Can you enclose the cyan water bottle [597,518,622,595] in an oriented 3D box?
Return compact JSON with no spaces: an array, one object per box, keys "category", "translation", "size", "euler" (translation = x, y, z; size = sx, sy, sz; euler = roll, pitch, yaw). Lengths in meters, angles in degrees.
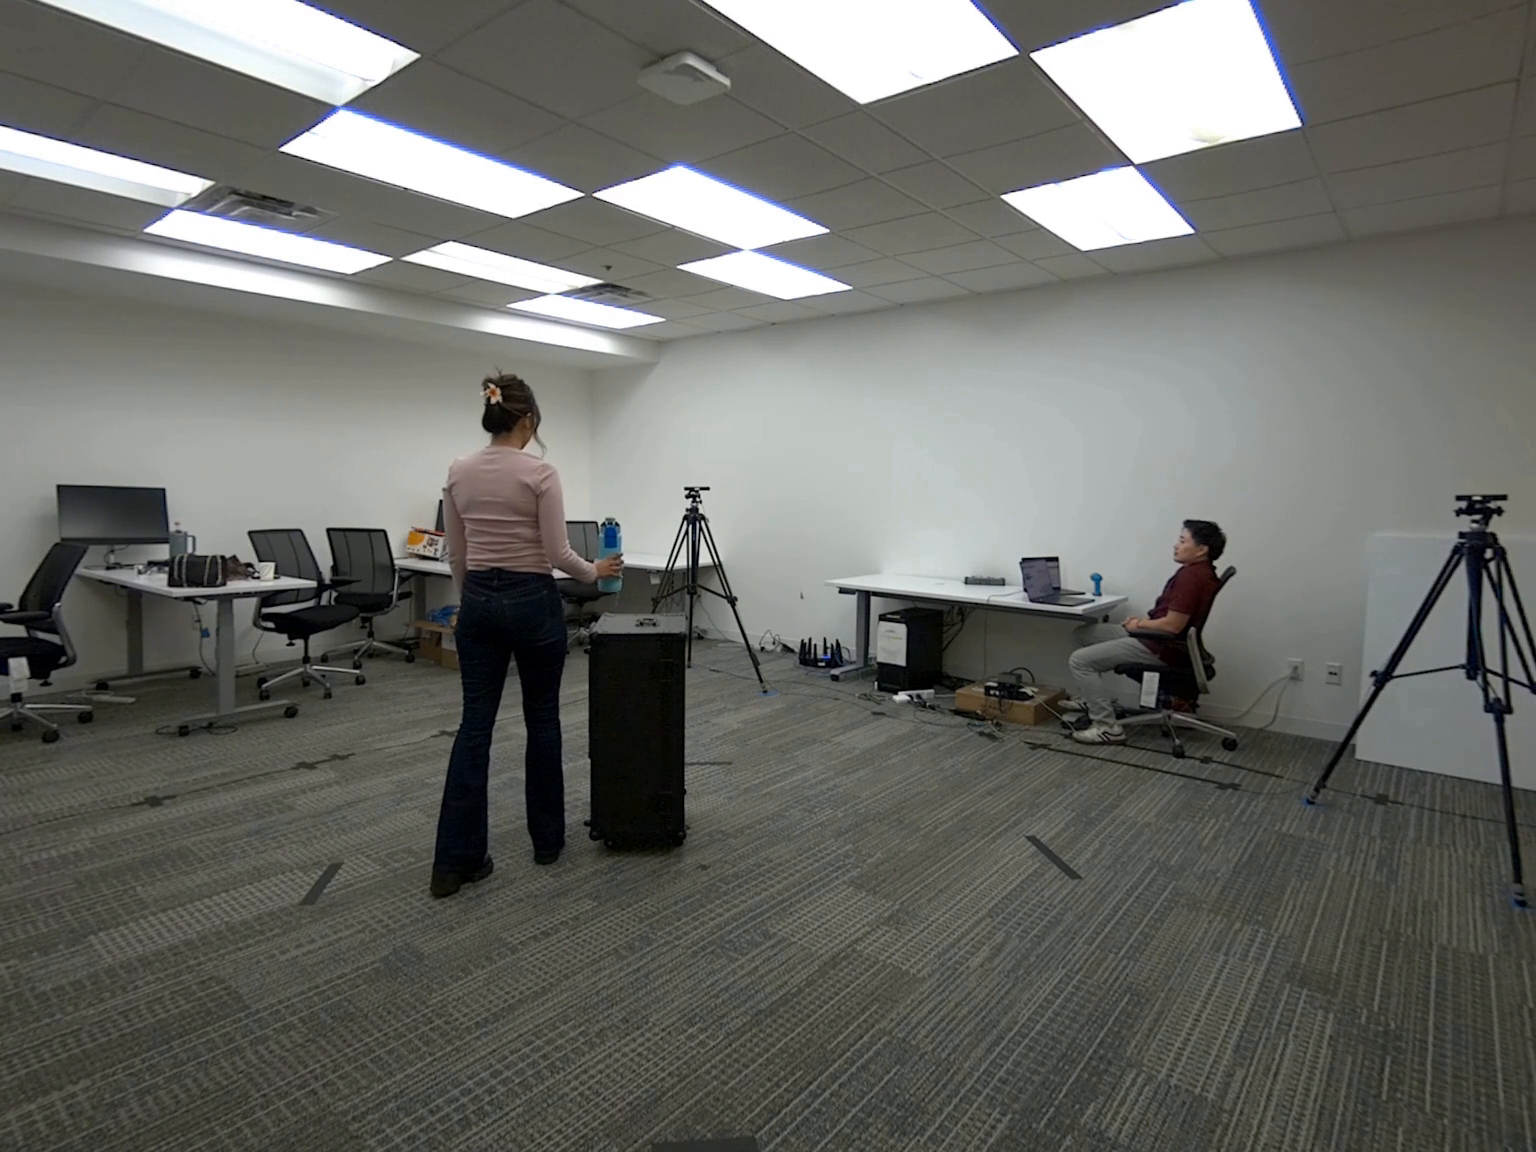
[{"category":"cyan water bottle","translation":[-0.634,-0.088,3.302],"size":[0.092,0.281,0.093],"euler":[2,10,-2]}]
